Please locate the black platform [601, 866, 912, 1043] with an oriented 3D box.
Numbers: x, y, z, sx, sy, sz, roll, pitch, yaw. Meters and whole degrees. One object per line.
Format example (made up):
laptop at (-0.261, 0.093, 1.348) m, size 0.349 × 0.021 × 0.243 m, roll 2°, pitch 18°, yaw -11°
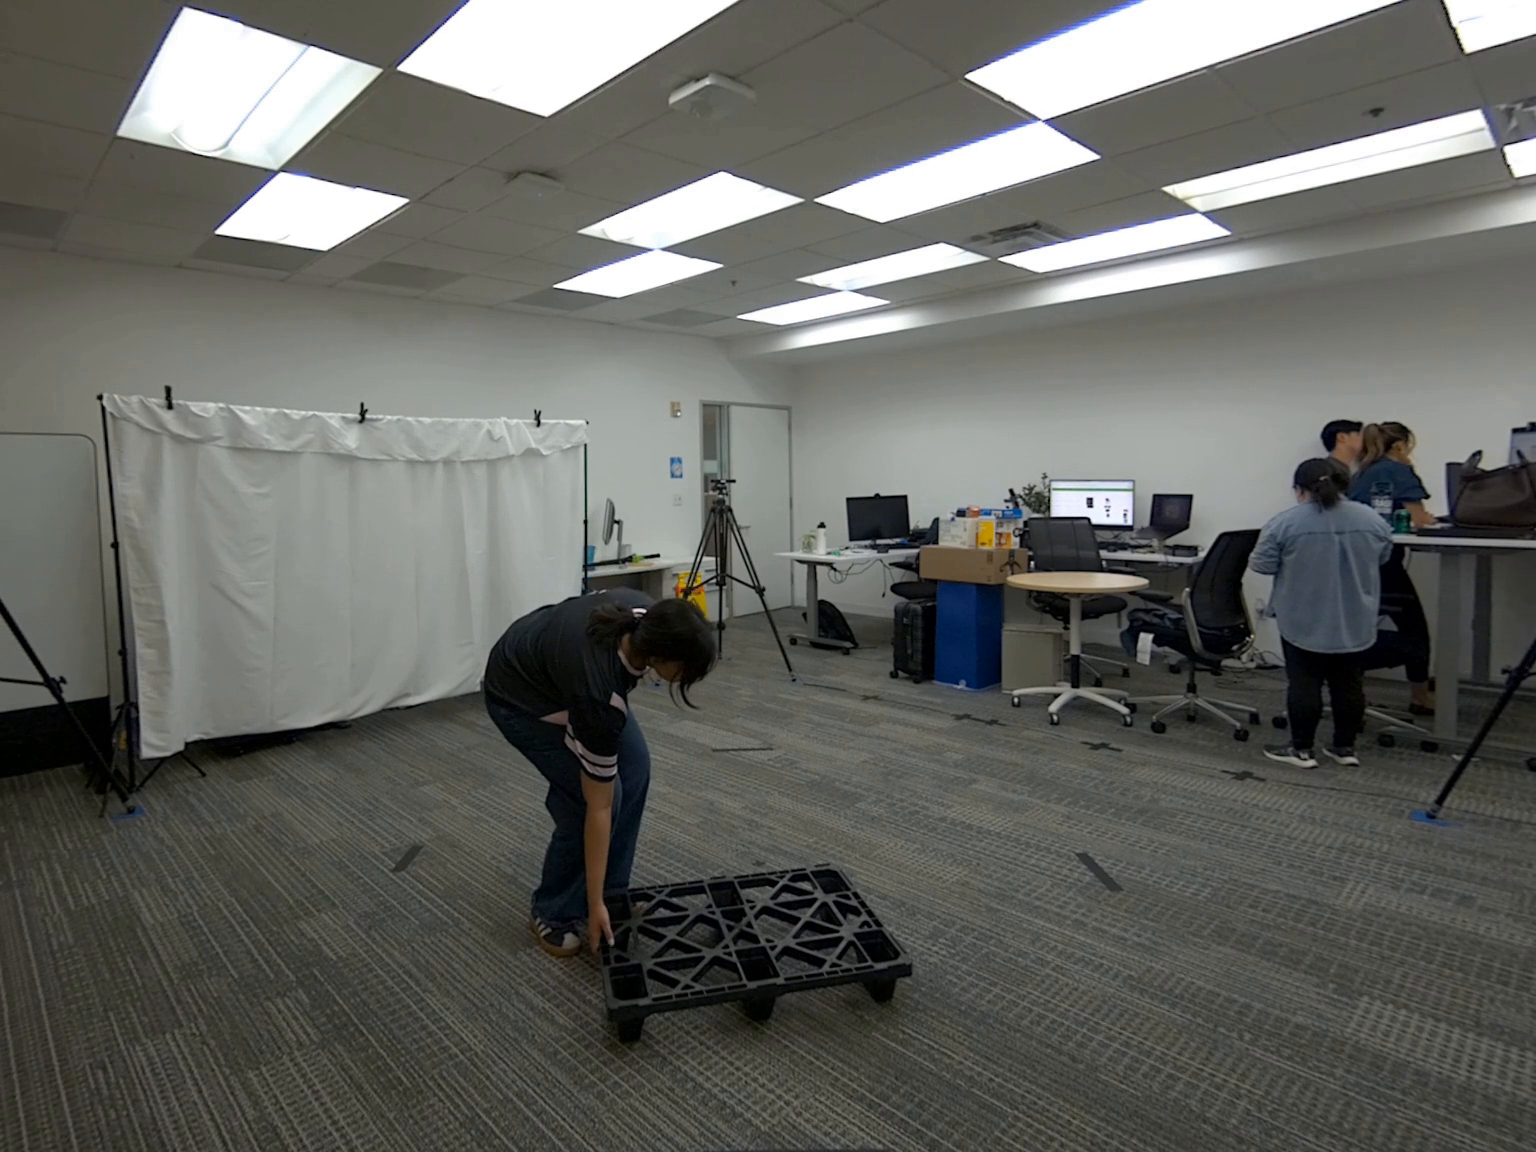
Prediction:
black platform at (-0.079, 1.056, 2.434) m, size 0.796 × 0.143 × 0.615 m, roll -2°, pitch 6°, yaw -13°
